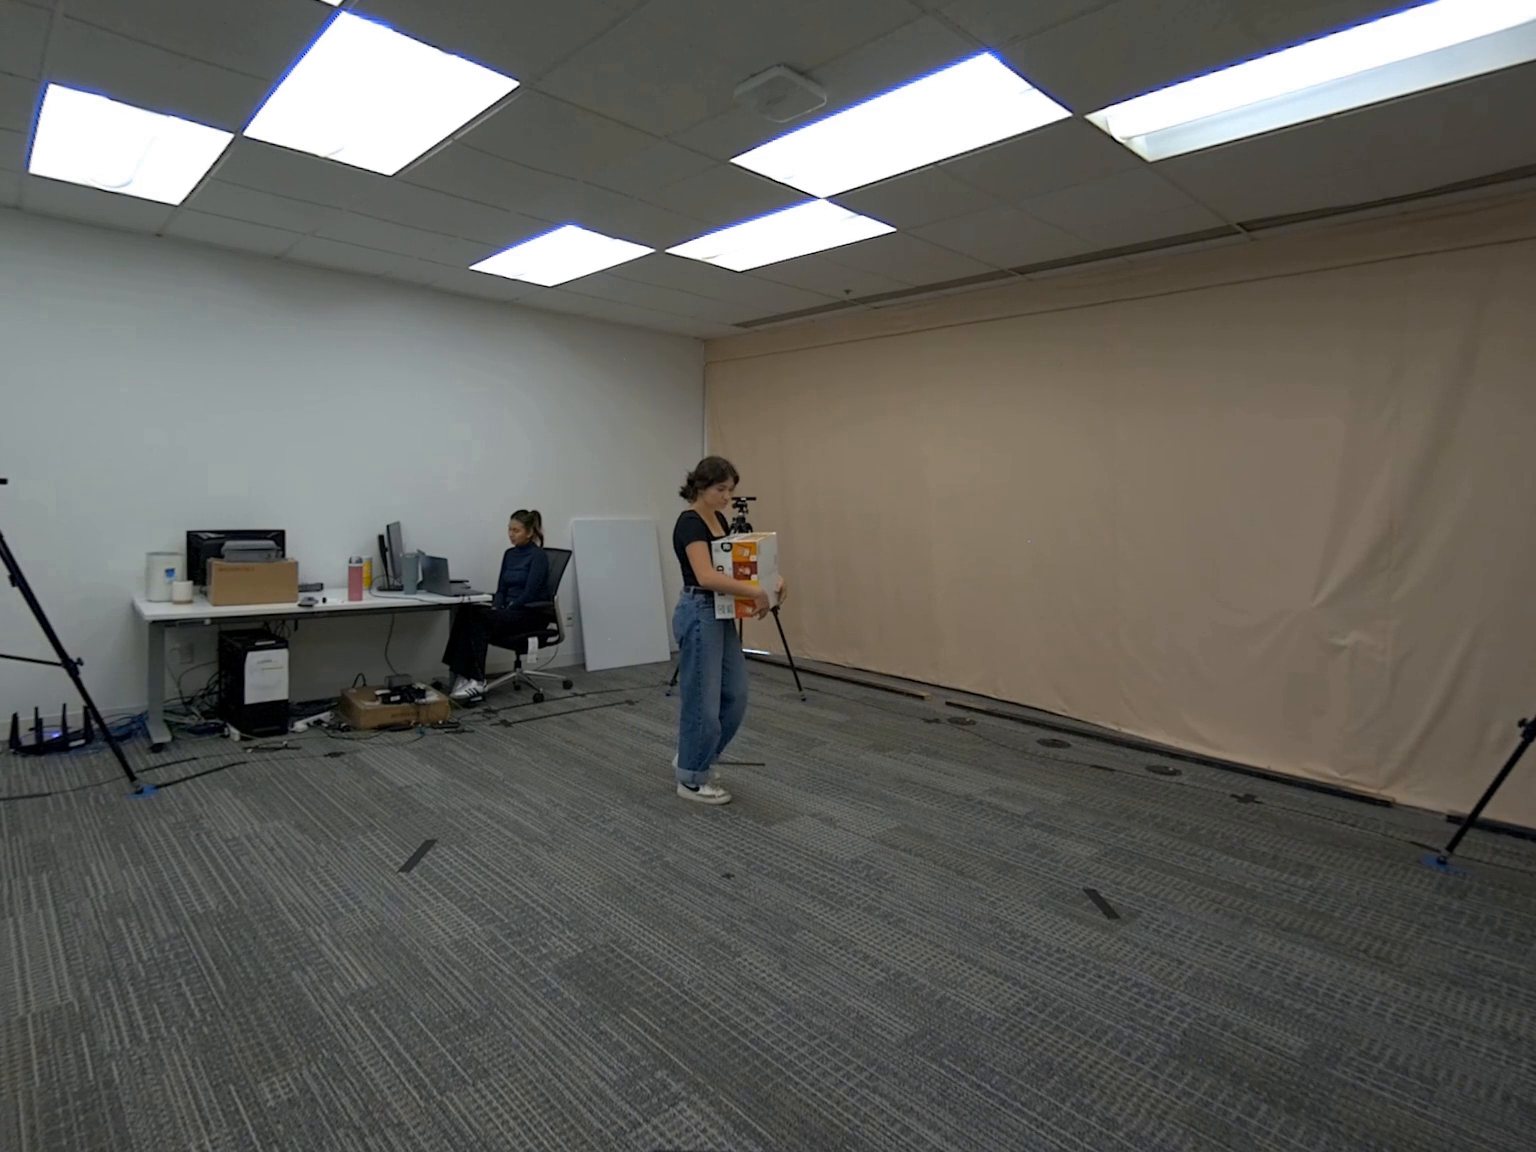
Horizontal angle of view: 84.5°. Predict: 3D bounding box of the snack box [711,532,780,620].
[{"bbox_3d":[-0.105,-0.012,3.853,0.208,0.338,0.402,-1,7,14],"label":"snack box"}]
